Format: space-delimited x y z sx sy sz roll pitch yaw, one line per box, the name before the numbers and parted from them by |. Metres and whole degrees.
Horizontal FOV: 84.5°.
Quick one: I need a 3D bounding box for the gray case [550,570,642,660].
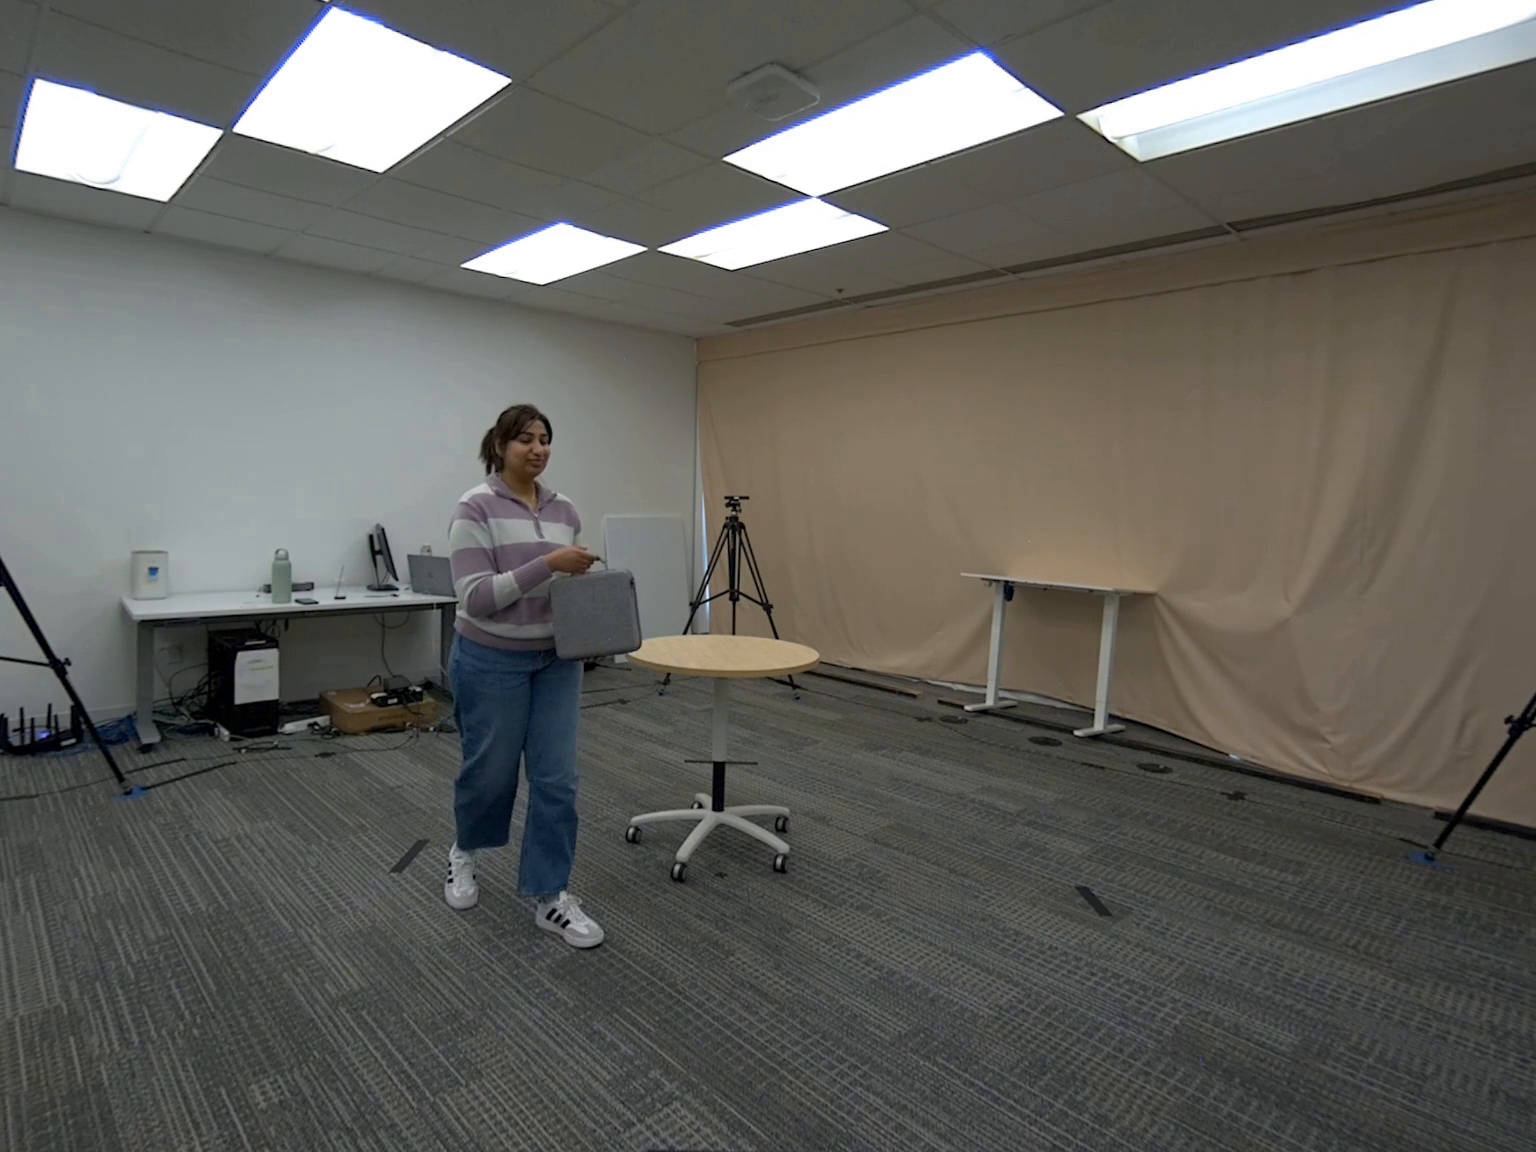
gray case | -0.530 0.110 2.559 0.258 0.261 0.103 -9 -2 7
